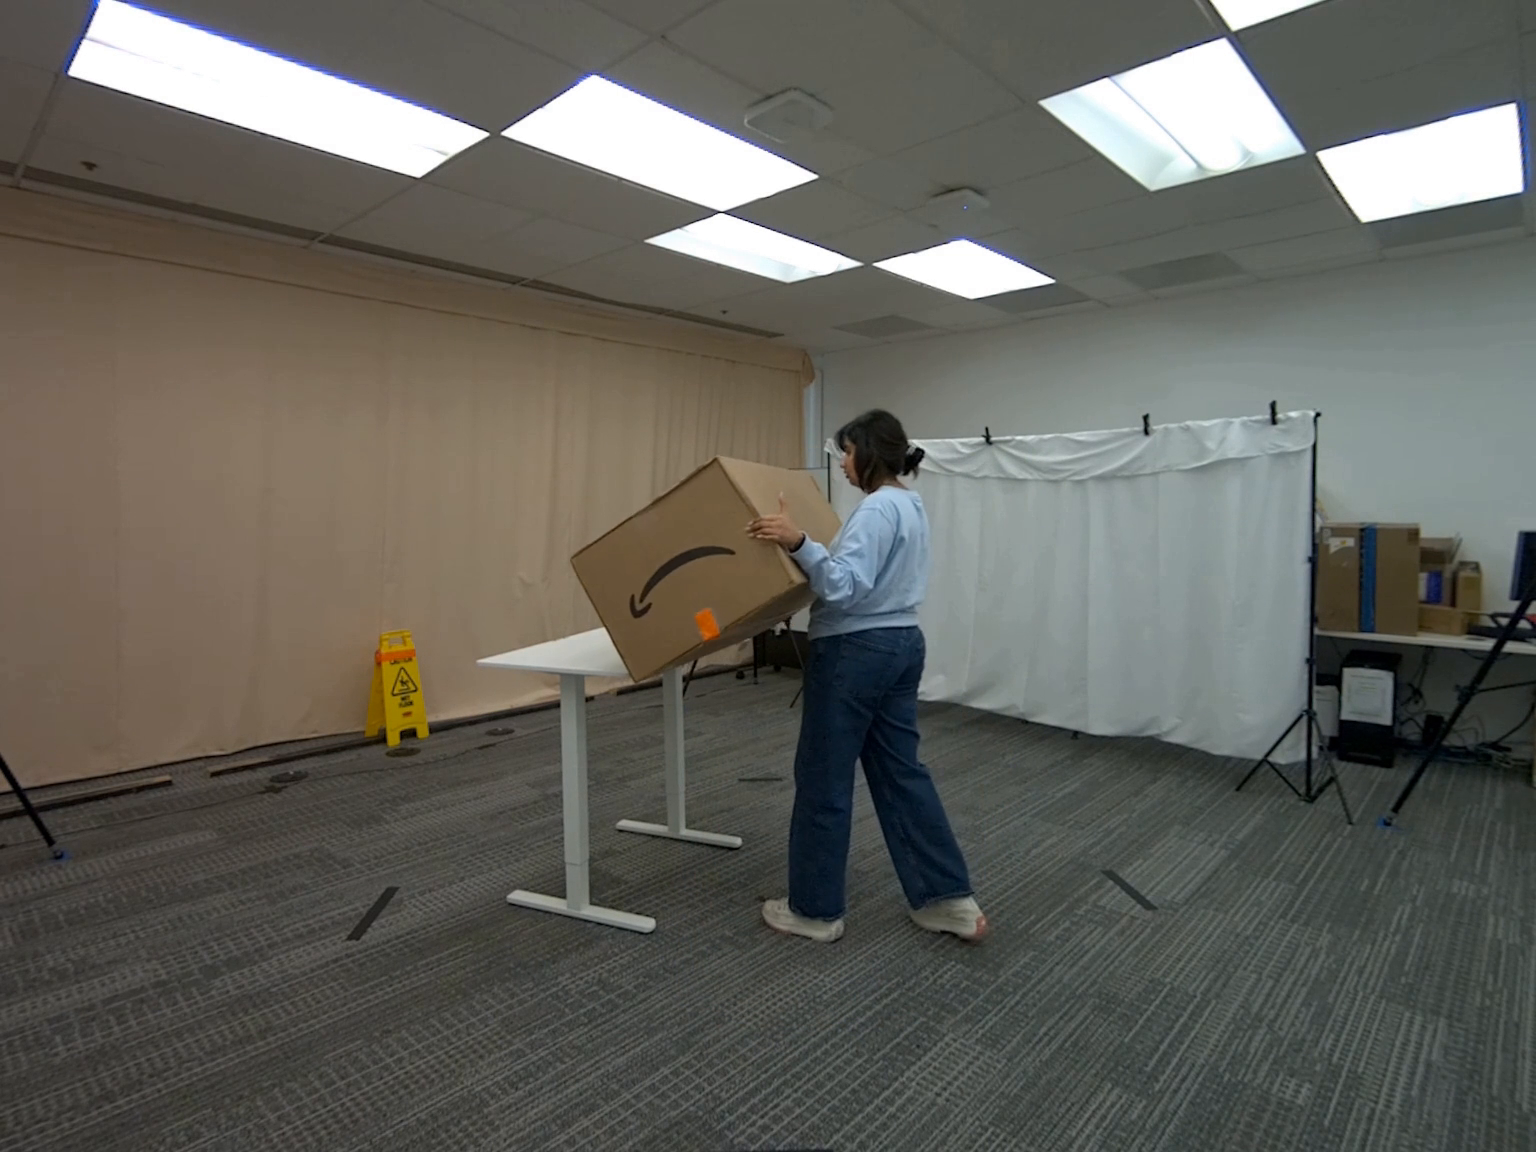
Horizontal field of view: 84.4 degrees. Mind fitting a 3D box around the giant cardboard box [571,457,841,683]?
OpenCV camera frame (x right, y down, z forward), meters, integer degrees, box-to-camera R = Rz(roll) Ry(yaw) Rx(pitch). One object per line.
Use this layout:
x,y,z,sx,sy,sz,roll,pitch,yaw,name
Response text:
-0.103,-0.042,2.872,0.583,0.430,1.006,-33,-7,18,giant cardboard box
